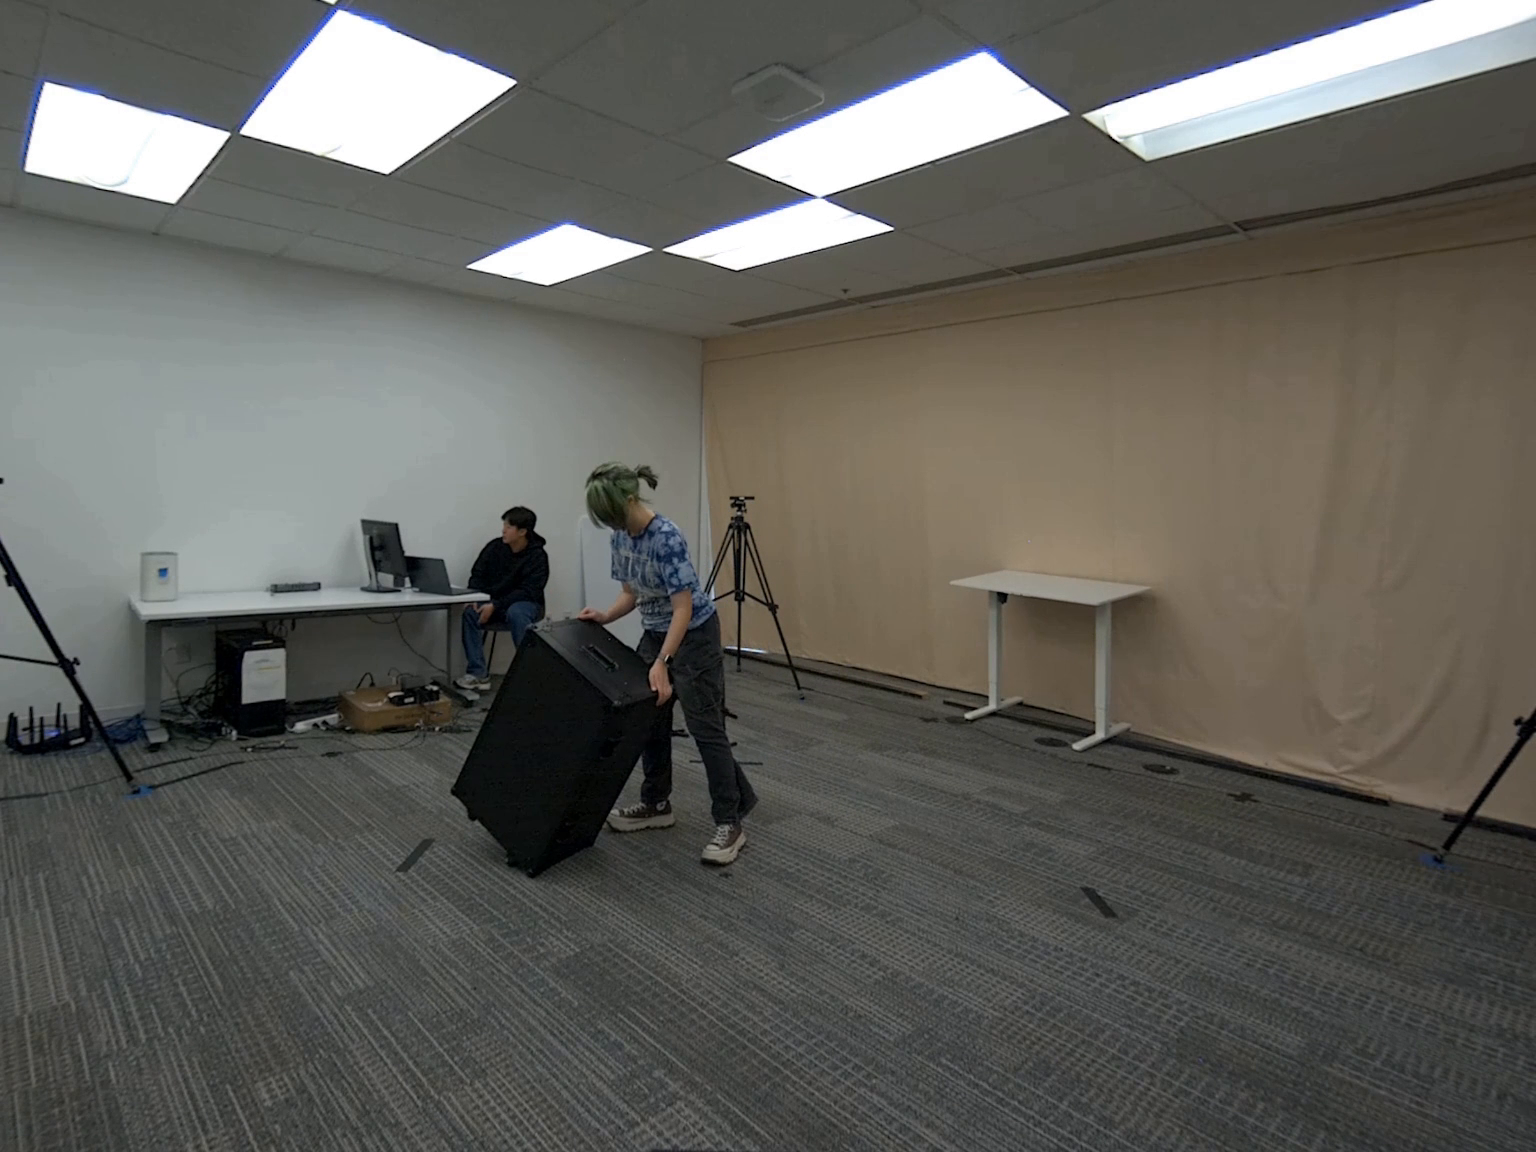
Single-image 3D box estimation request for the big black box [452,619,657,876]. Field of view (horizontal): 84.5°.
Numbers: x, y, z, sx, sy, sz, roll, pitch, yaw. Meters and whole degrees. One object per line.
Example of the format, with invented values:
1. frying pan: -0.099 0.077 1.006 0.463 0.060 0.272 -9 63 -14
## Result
1. big black box: -0.797 0.651 3.195 0.534 0.857 0.388 36 18 23
